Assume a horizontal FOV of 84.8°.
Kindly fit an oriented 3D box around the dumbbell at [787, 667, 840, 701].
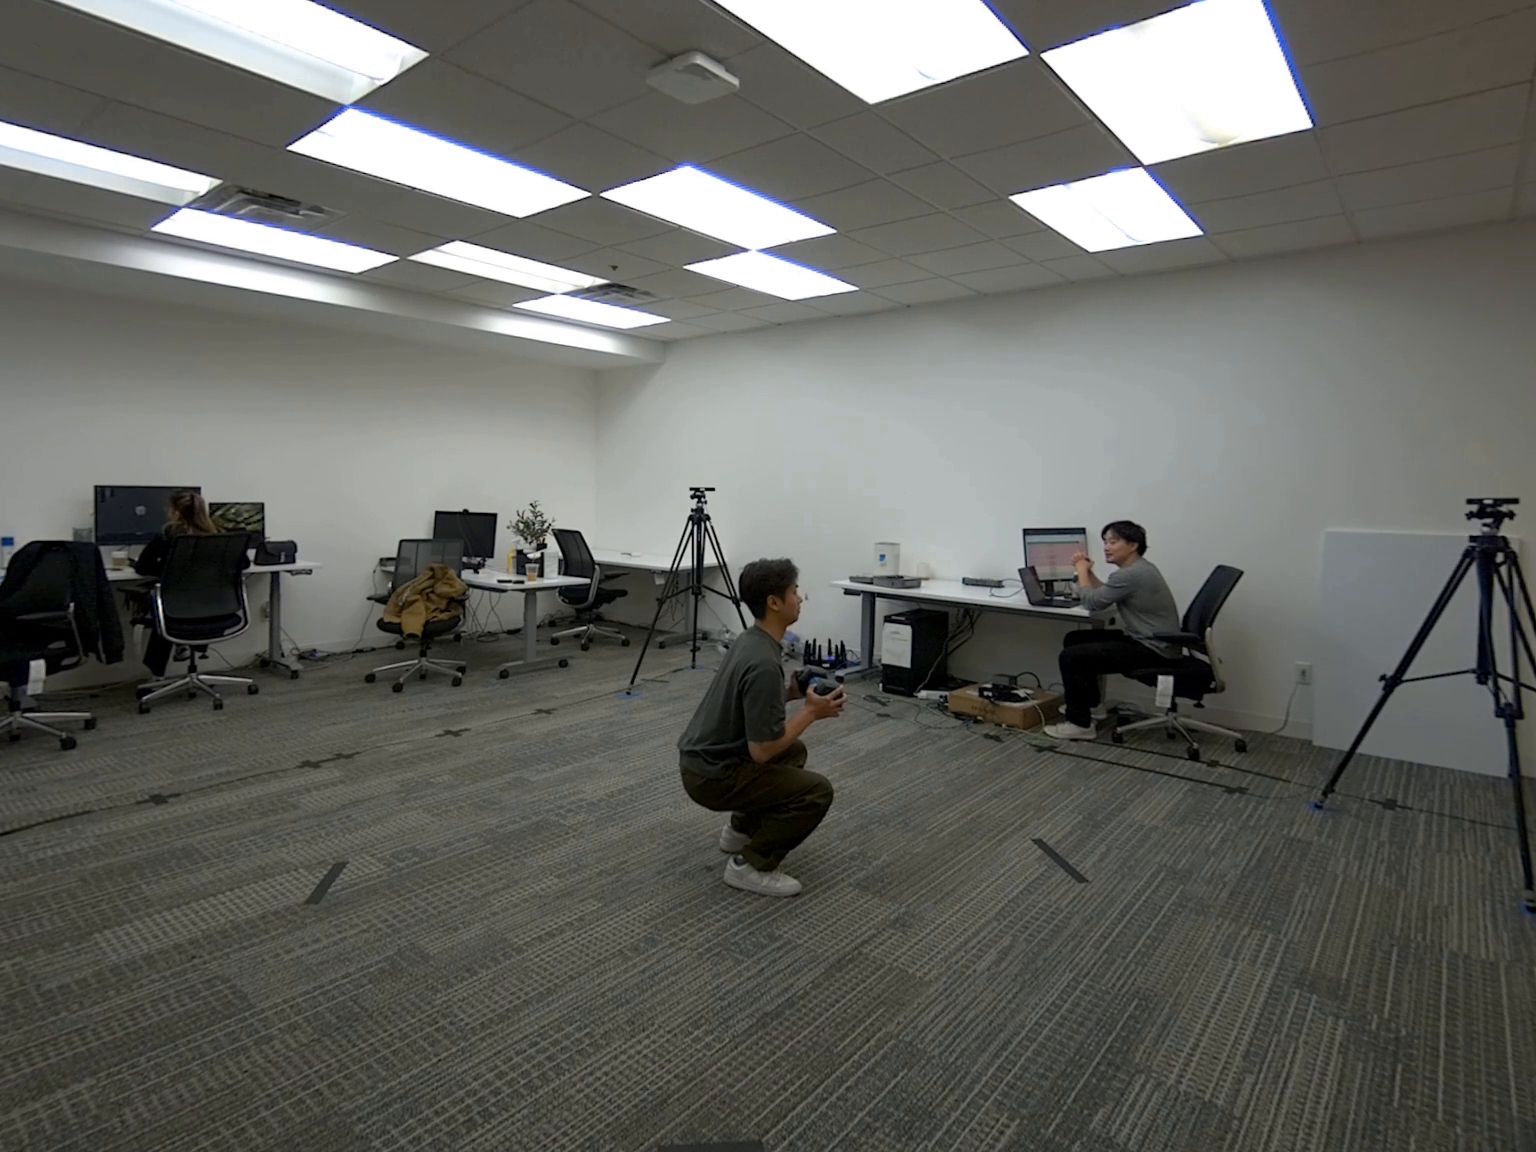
[{"bbox_3d":[0.172,0.418,3.136,0.107,0.123,0.298,43,-3,-12],"label":"dumbbell"}]
